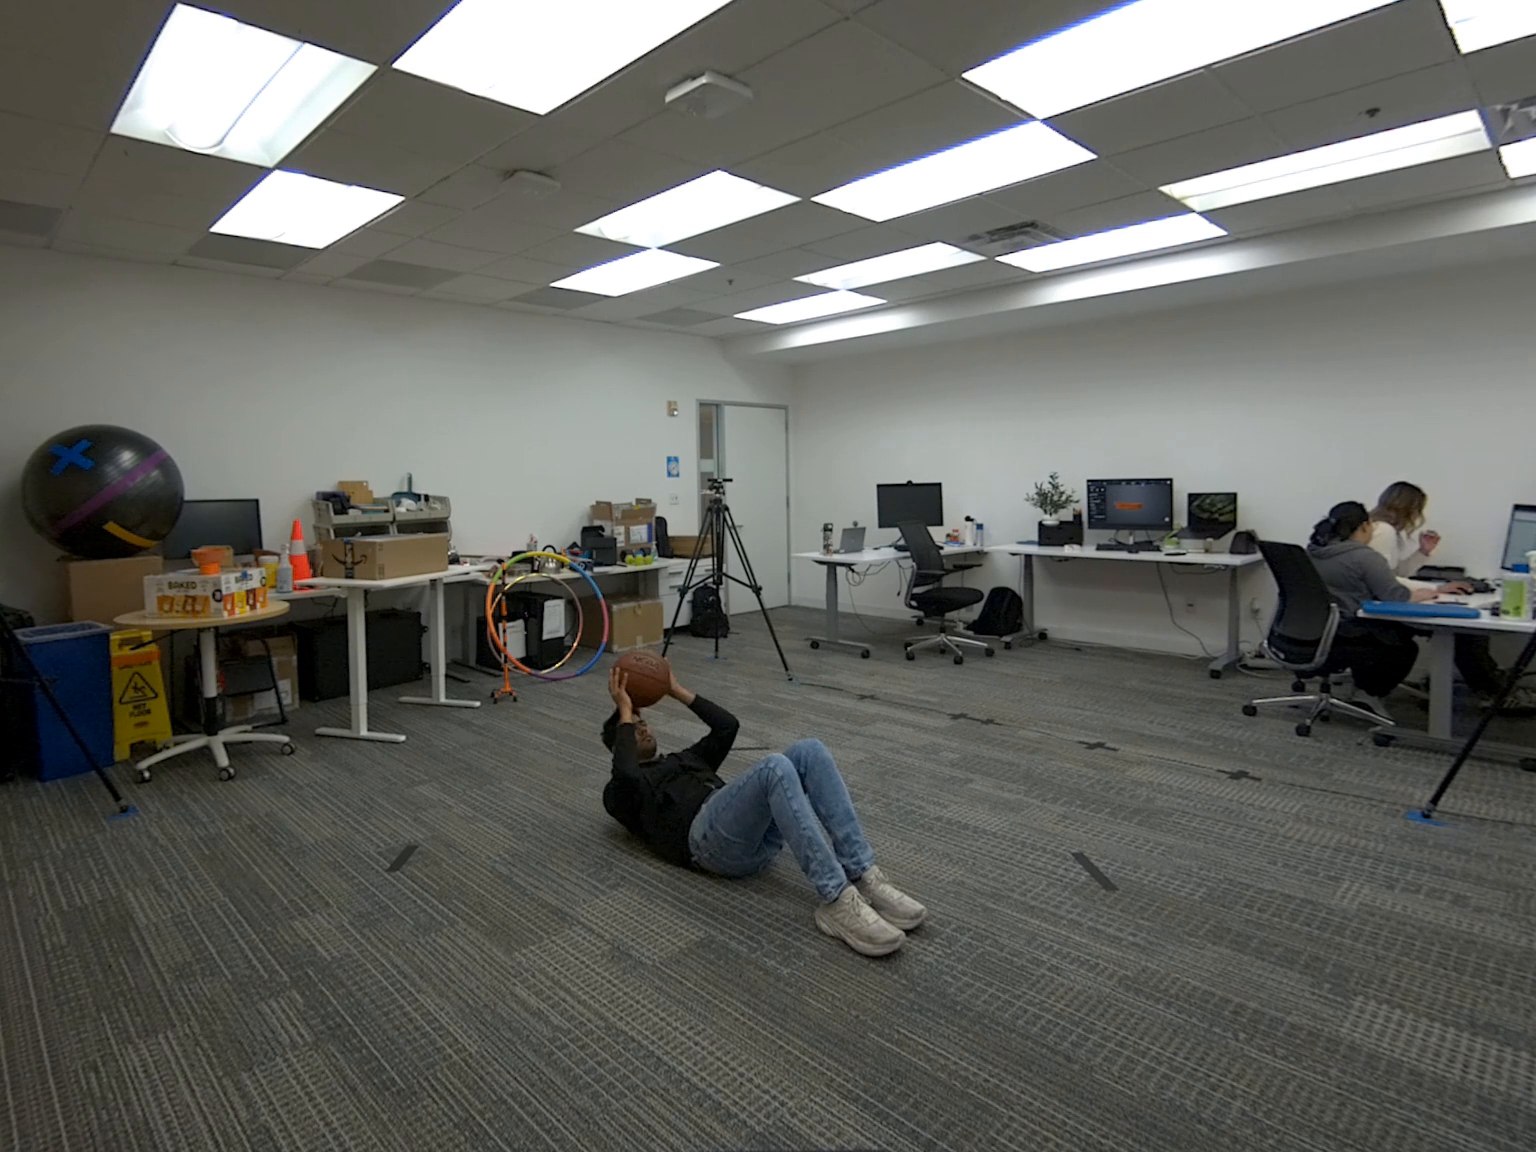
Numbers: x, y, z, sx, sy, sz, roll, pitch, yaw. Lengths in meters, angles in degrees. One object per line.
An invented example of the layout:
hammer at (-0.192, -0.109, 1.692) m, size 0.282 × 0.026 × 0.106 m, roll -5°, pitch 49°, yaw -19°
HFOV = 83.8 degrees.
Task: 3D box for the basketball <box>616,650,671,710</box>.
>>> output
basketball at (-0.507, 0.416, 3.449) m, size 0.236 × 0.235 × 0.237 m, roll -1°, pitch 5°, yaw -2°
